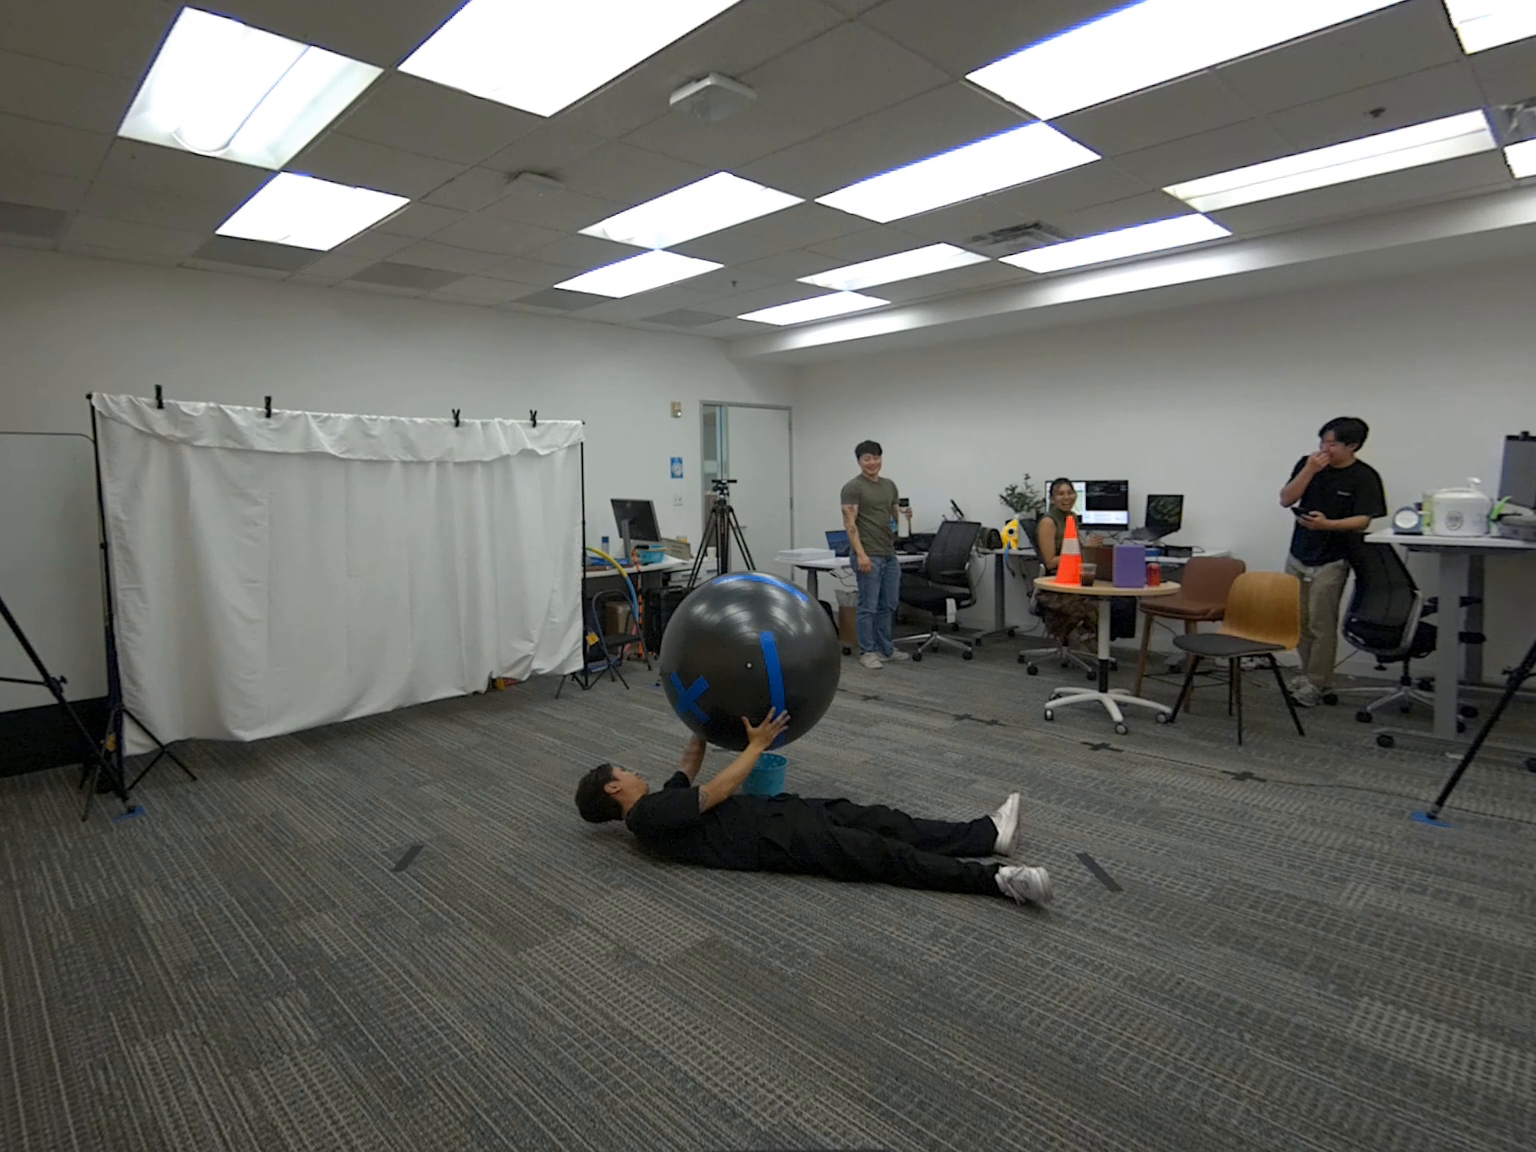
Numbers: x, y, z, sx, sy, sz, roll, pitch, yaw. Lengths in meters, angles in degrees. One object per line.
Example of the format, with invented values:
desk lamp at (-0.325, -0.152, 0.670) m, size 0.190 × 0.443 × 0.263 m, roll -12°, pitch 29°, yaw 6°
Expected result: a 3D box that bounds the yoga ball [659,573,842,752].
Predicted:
yoga ball at (-0.077, 0.357, 3.610) m, size 0.757 × 0.755 × 0.762 m, roll -1°, pitch 5°, yaw -2°
